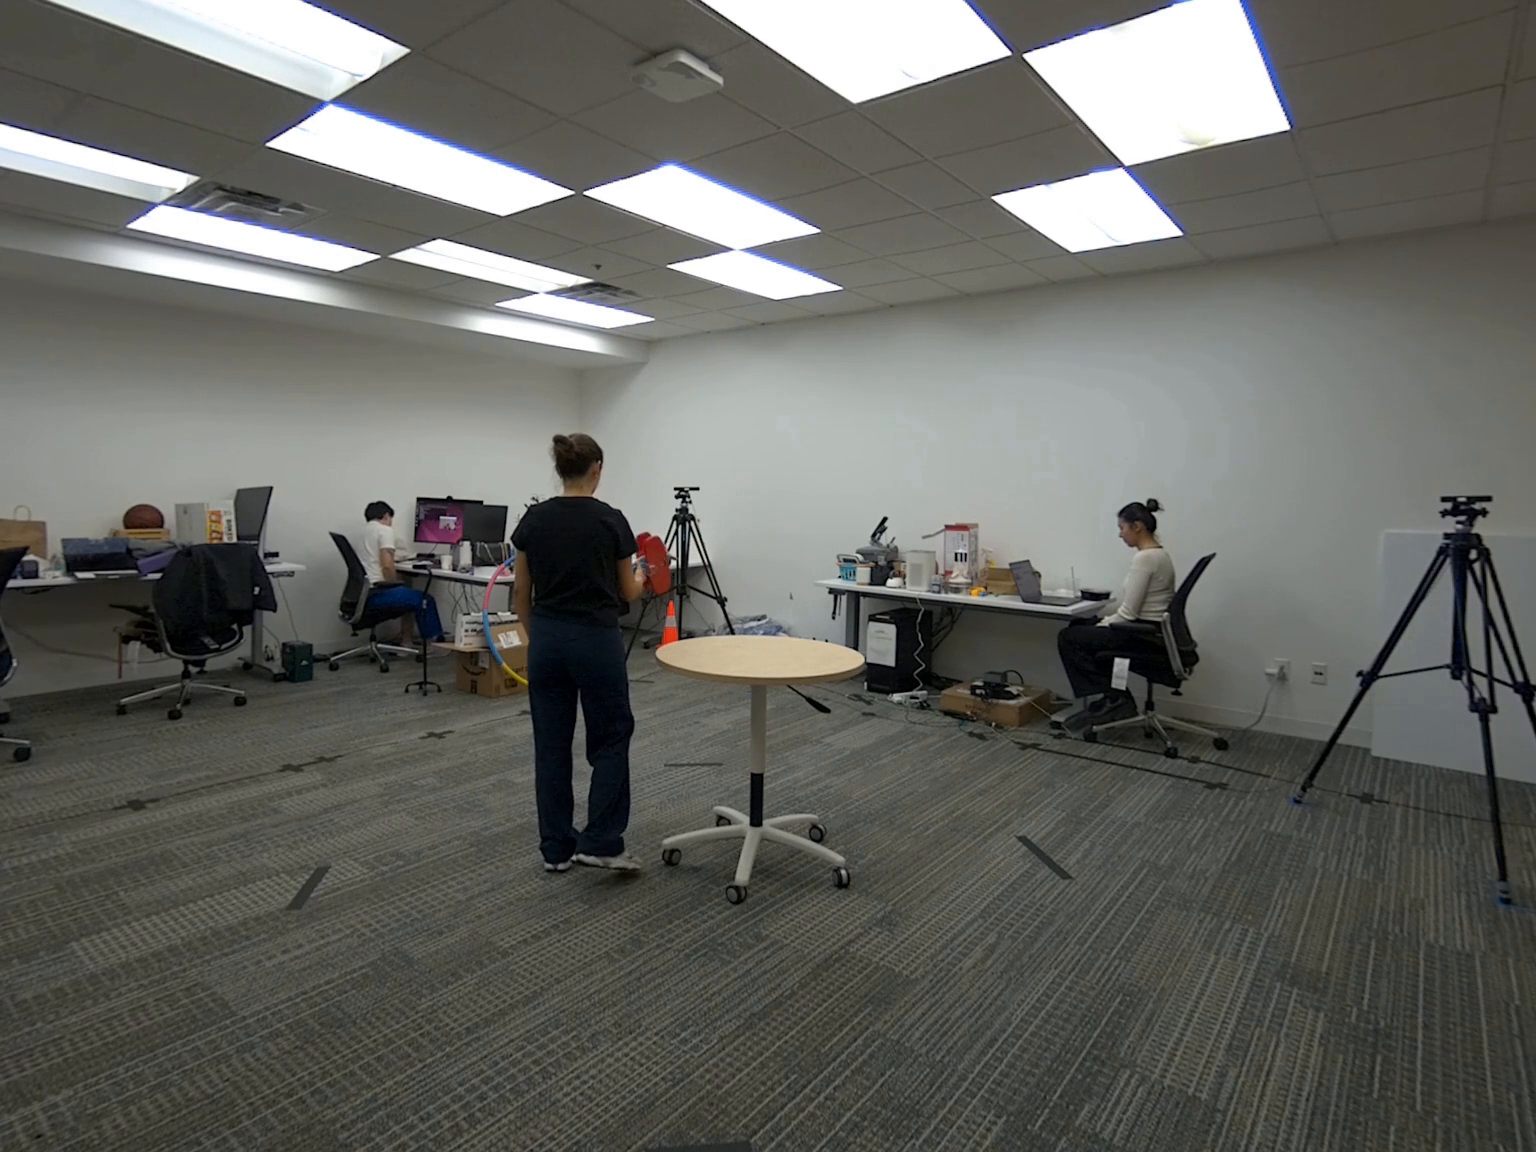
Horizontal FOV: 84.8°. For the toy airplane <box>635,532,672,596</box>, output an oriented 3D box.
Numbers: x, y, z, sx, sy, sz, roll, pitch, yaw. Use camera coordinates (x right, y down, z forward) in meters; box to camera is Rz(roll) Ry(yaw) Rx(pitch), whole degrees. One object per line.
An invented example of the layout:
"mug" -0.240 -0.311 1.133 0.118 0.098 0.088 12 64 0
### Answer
"toy airplane" -0.480 -0.031 3.533 0.162 0.260 0.241 5 -39 43
